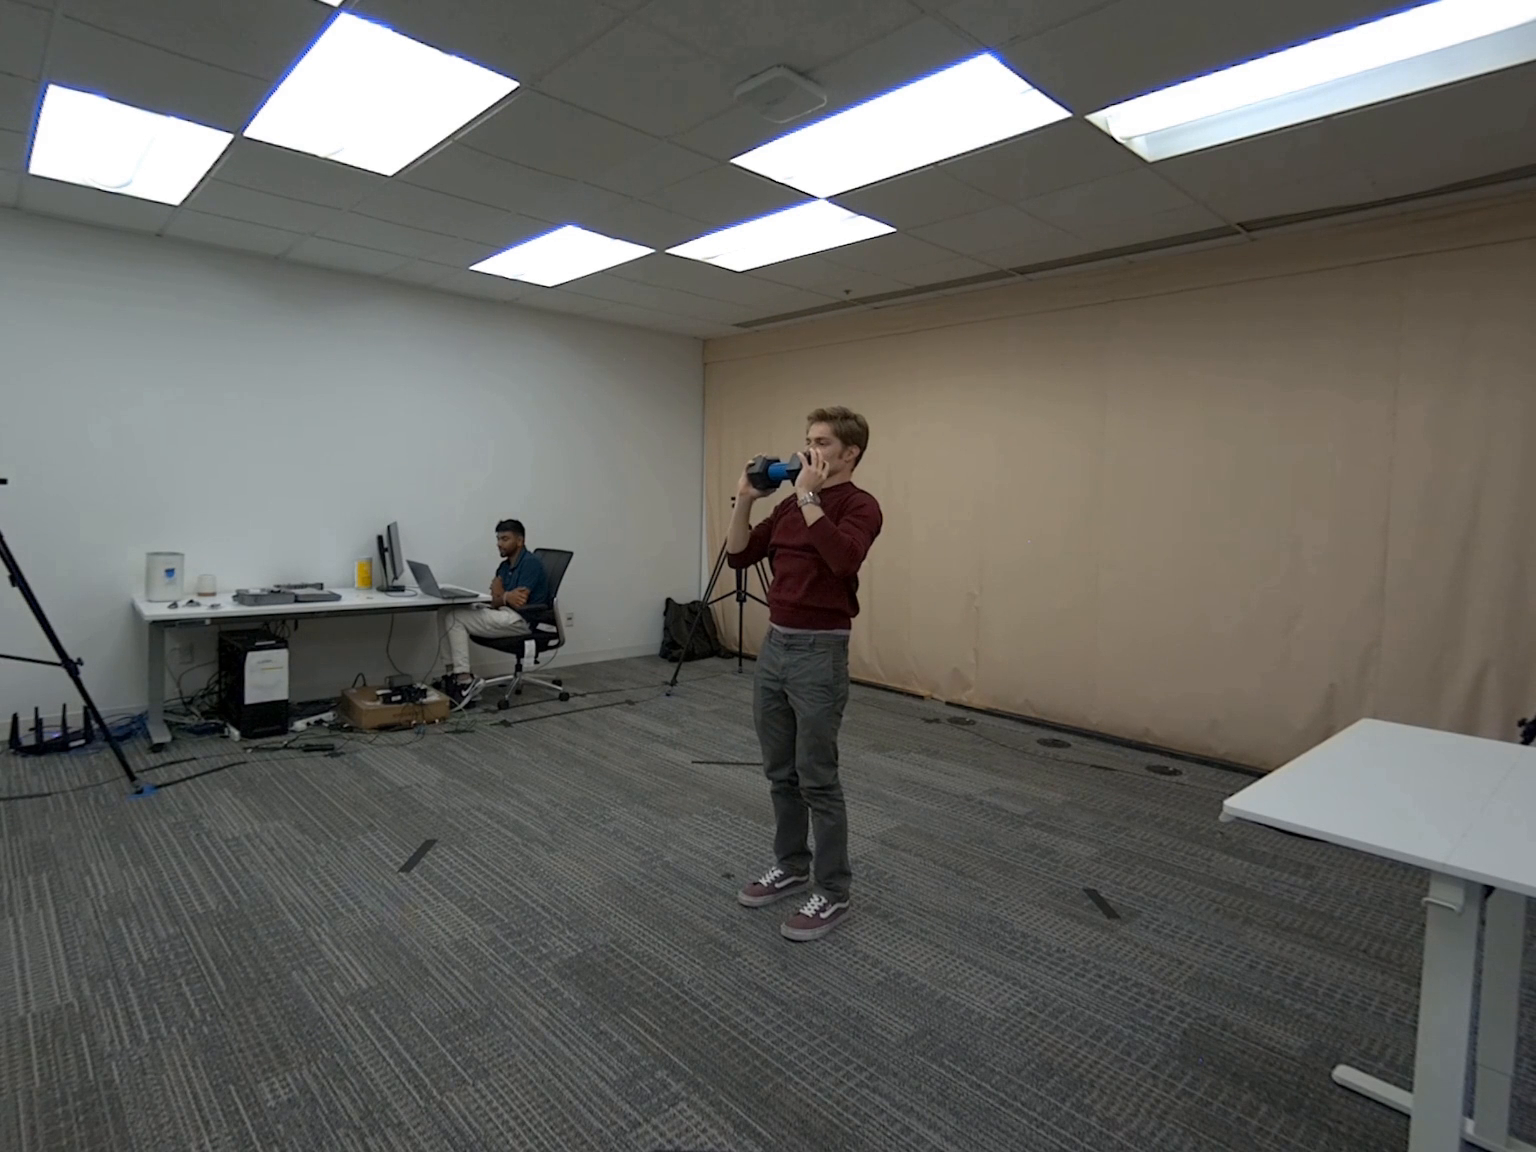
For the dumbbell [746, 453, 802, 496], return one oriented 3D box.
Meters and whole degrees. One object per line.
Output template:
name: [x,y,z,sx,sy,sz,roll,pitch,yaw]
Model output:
dumbbell: [0.041,-0.349,2.770,0.106,0.123,0.300,34,-18,-32]
